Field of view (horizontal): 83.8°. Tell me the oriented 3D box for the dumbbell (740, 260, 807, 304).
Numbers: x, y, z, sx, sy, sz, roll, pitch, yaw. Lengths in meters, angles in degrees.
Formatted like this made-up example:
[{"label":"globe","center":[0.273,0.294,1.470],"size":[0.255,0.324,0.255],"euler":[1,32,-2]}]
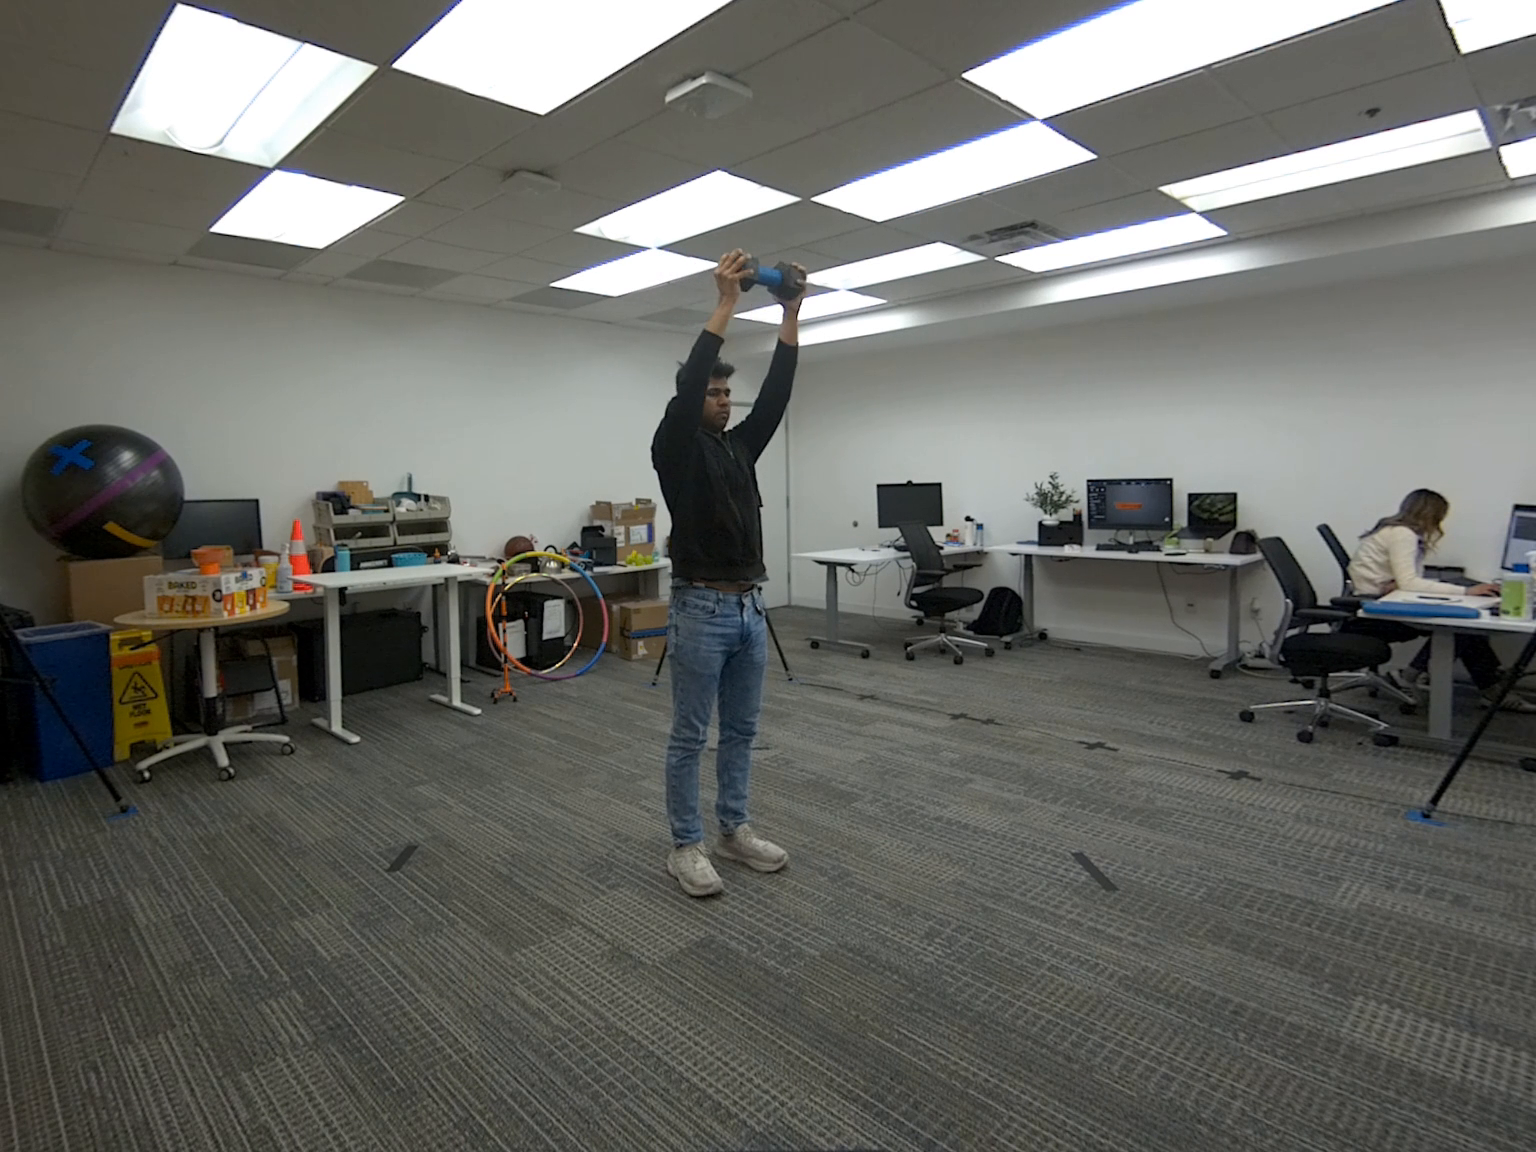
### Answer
[{"label":"dumbbell","center":[-0.009,-0.977,2.808],"size":[0.286,0.107,0.128],"euler":[-8,37,-44]}]
